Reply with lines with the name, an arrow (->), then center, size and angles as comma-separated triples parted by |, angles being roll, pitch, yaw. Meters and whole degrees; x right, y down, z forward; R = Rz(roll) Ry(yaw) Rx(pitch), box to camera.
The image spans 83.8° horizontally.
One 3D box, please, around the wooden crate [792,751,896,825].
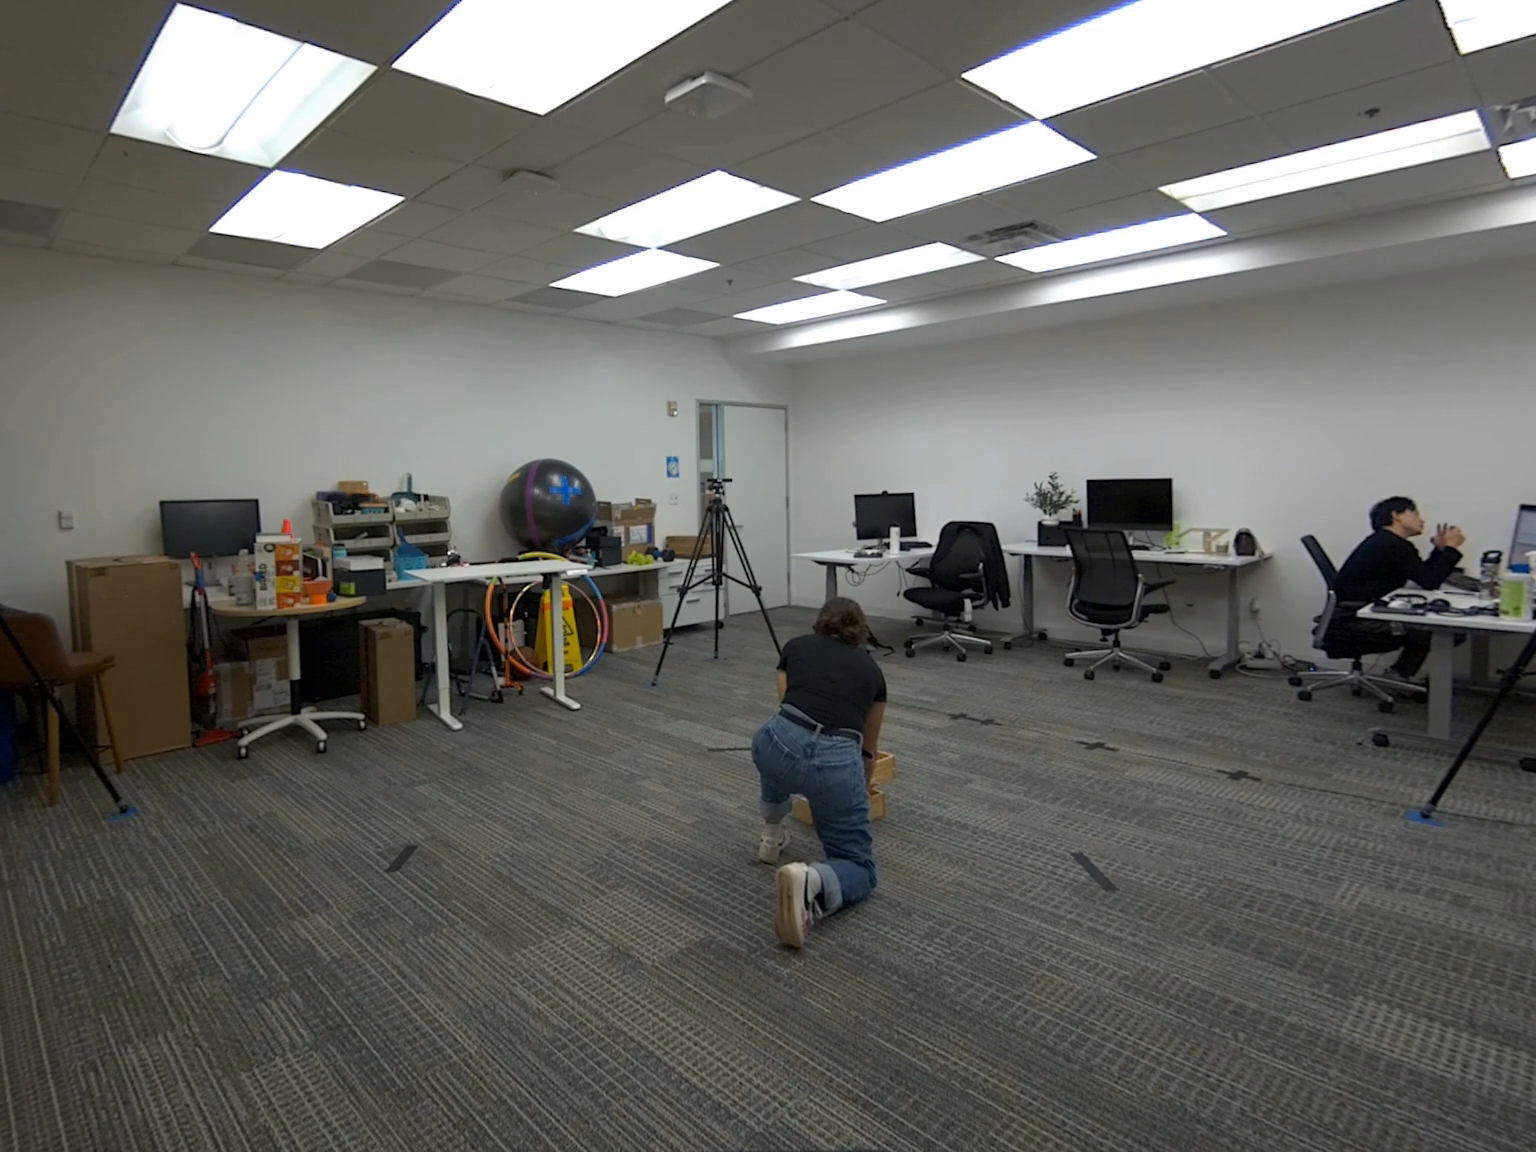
wooden crate -> 0.312, 0.863, 3.513 | 0.316, 0.272, 0.311 | -6, 8, -42
